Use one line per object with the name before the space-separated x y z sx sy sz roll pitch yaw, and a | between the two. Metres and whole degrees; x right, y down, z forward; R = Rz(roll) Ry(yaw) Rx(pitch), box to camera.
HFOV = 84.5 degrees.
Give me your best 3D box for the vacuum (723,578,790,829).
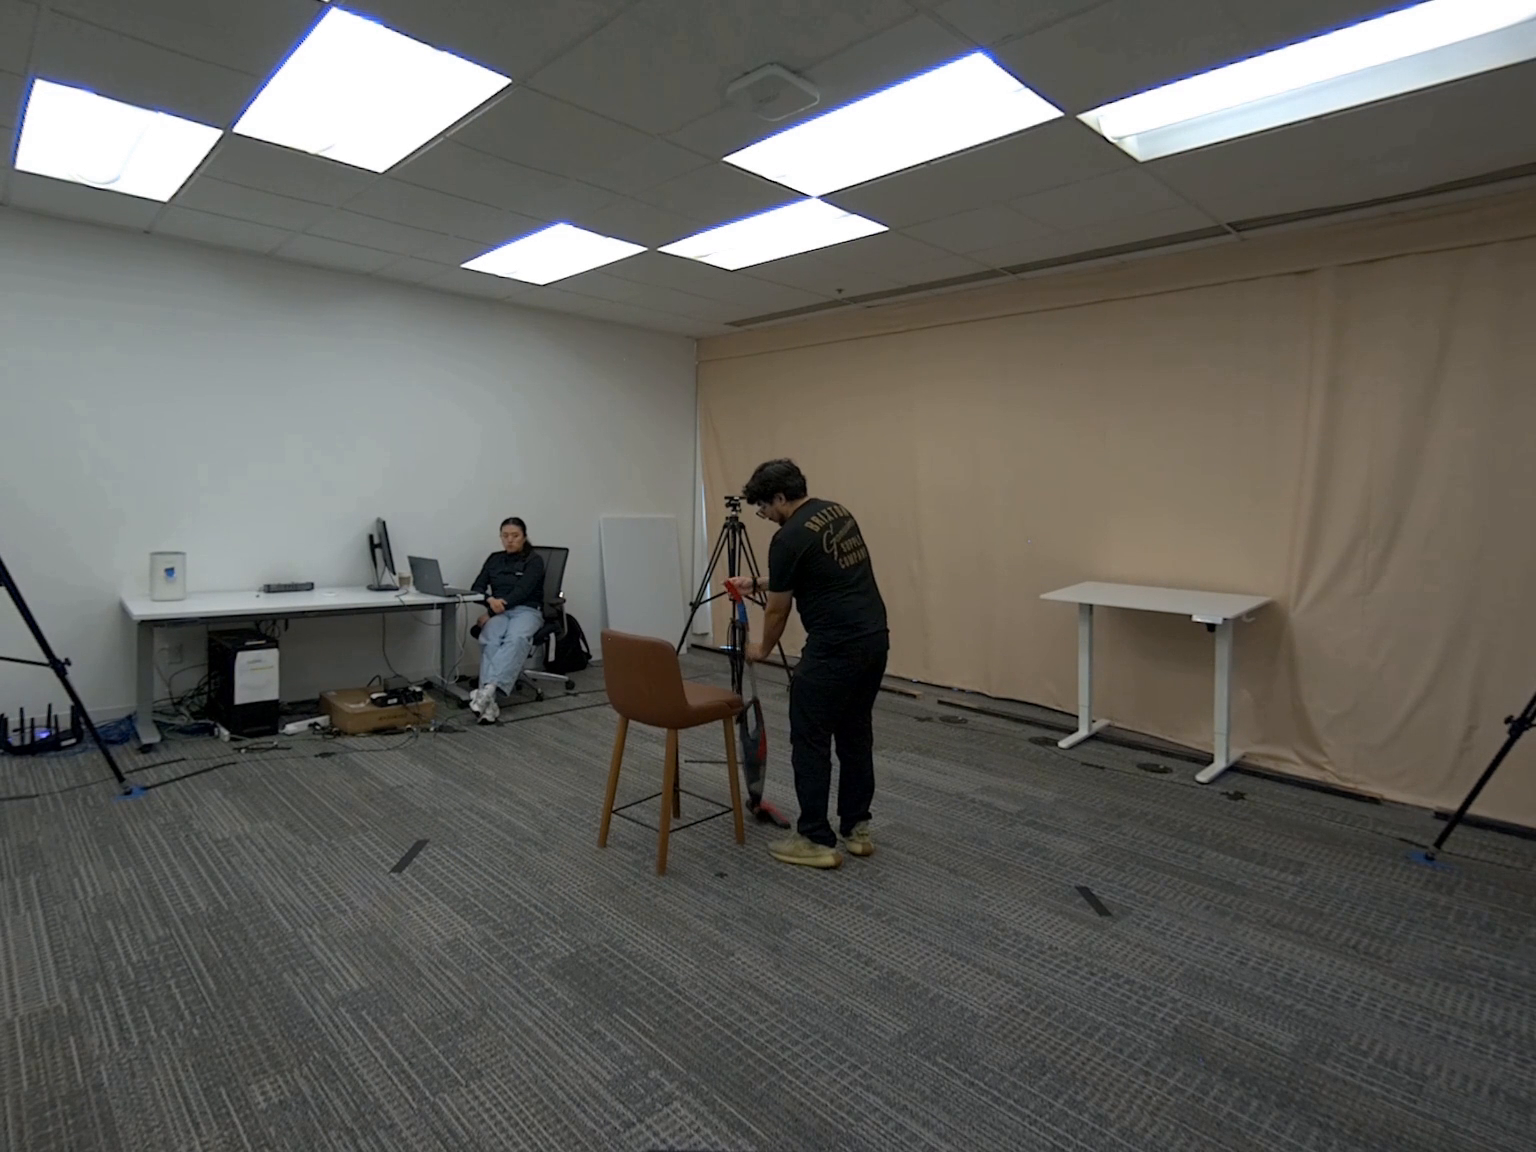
vacuum | -0.103 0.534 3.585 0.143 1.041 0.257 -10 10 -14
